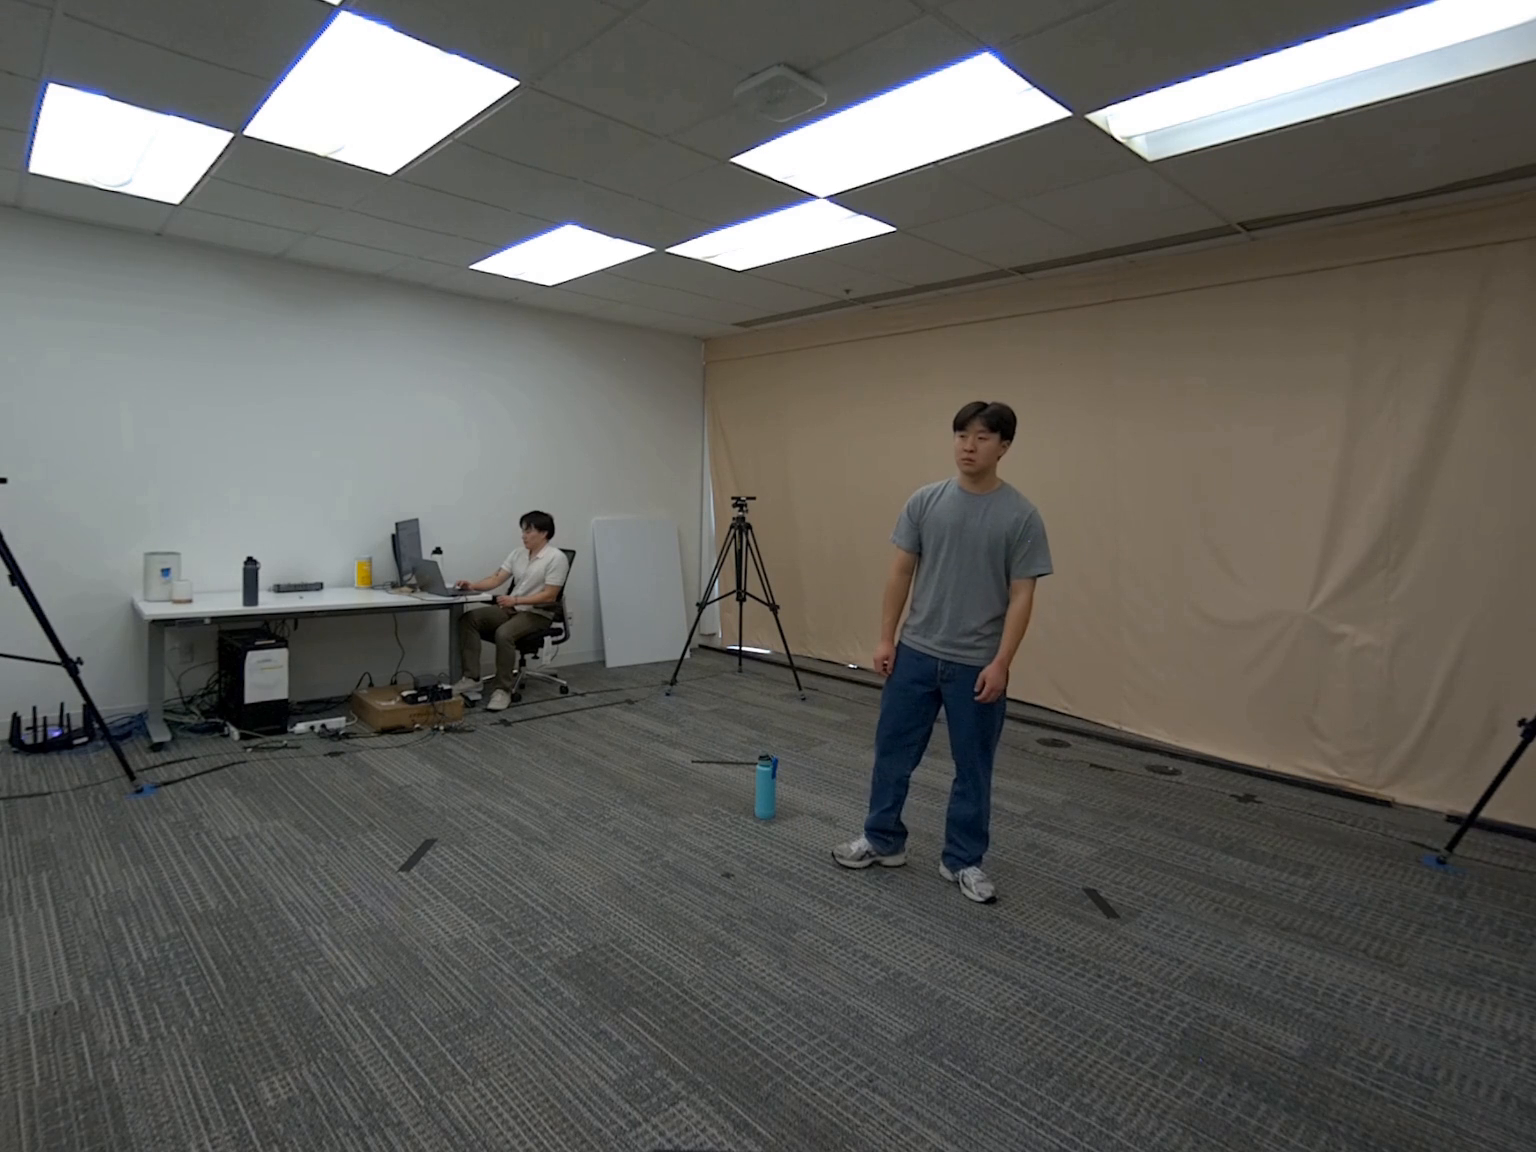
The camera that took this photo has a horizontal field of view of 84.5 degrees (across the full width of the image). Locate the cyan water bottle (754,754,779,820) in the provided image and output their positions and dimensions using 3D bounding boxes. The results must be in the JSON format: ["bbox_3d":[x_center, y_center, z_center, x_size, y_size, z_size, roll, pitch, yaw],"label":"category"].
[{"bbox_3d":[-0.017,0.918,3.710,0.092,0.282,0.093,4,4,-2],"label":"cyan water bottle"}]
